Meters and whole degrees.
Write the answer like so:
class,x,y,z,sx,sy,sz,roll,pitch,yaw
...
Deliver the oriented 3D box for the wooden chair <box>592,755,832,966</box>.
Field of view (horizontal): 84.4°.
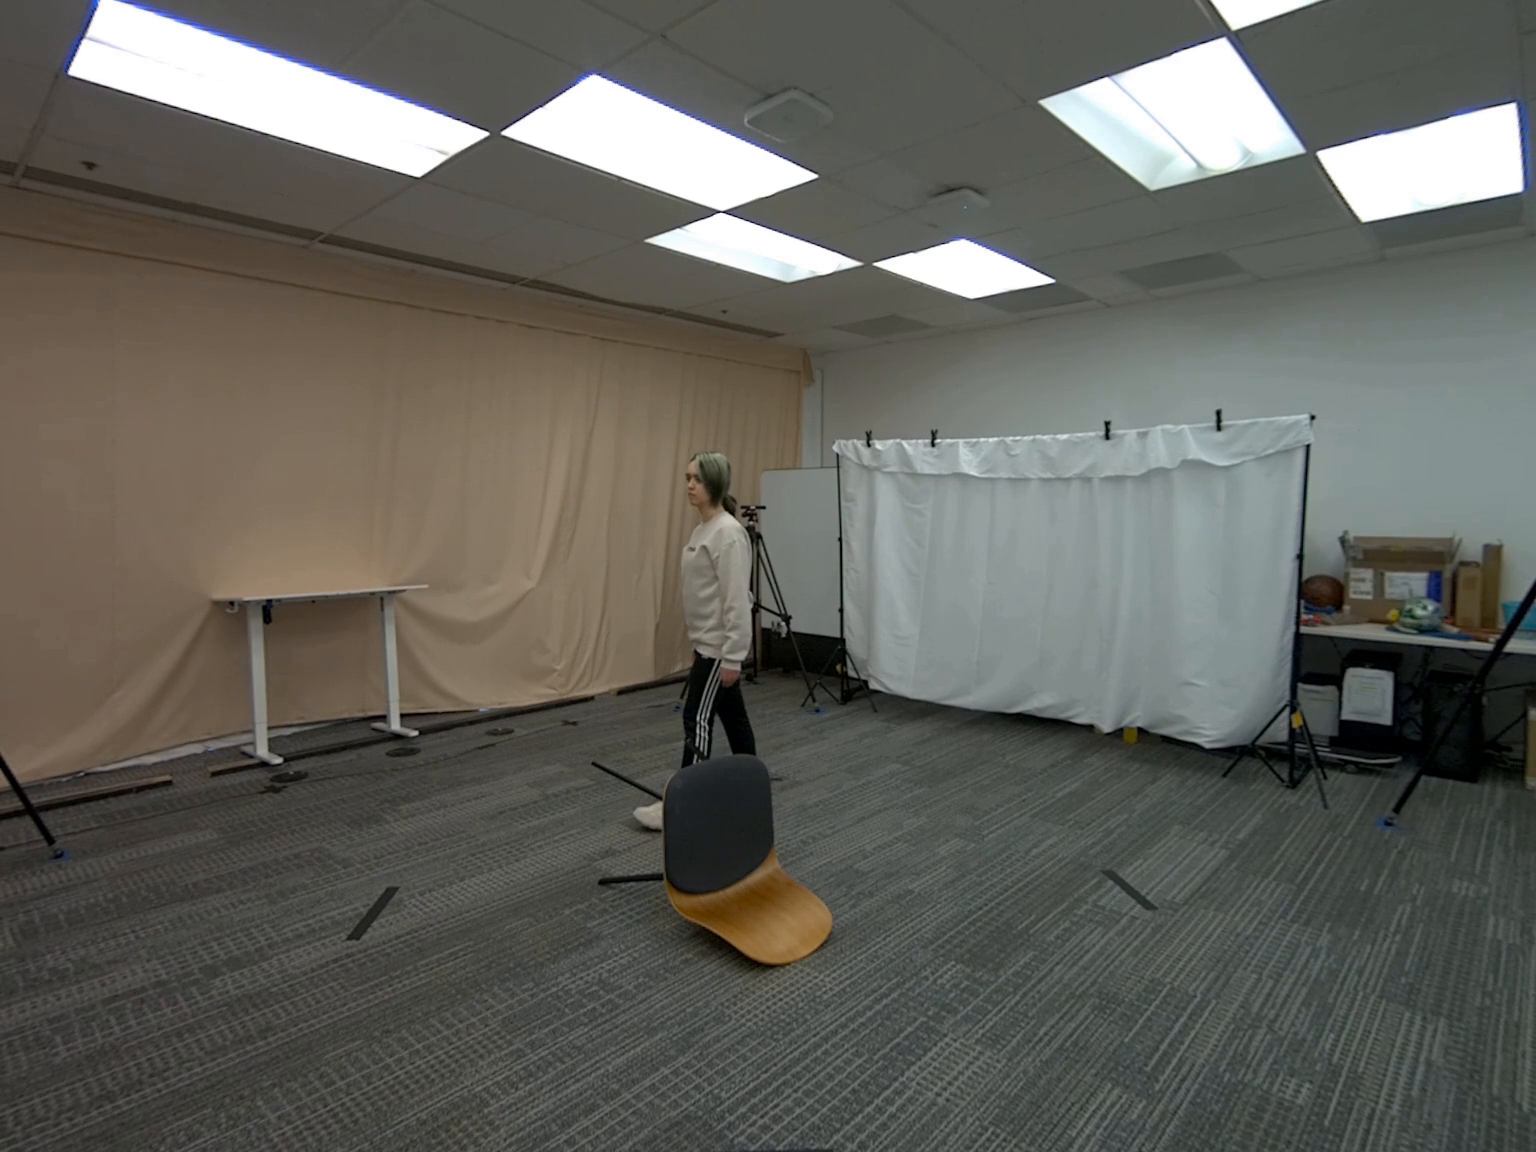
class,x,y,z,sx,sy,sz,roll,pitch,yaw
wooden chair,-0.189,0.892,2.910,0.464,0.522,0.907,-3,6,-39
